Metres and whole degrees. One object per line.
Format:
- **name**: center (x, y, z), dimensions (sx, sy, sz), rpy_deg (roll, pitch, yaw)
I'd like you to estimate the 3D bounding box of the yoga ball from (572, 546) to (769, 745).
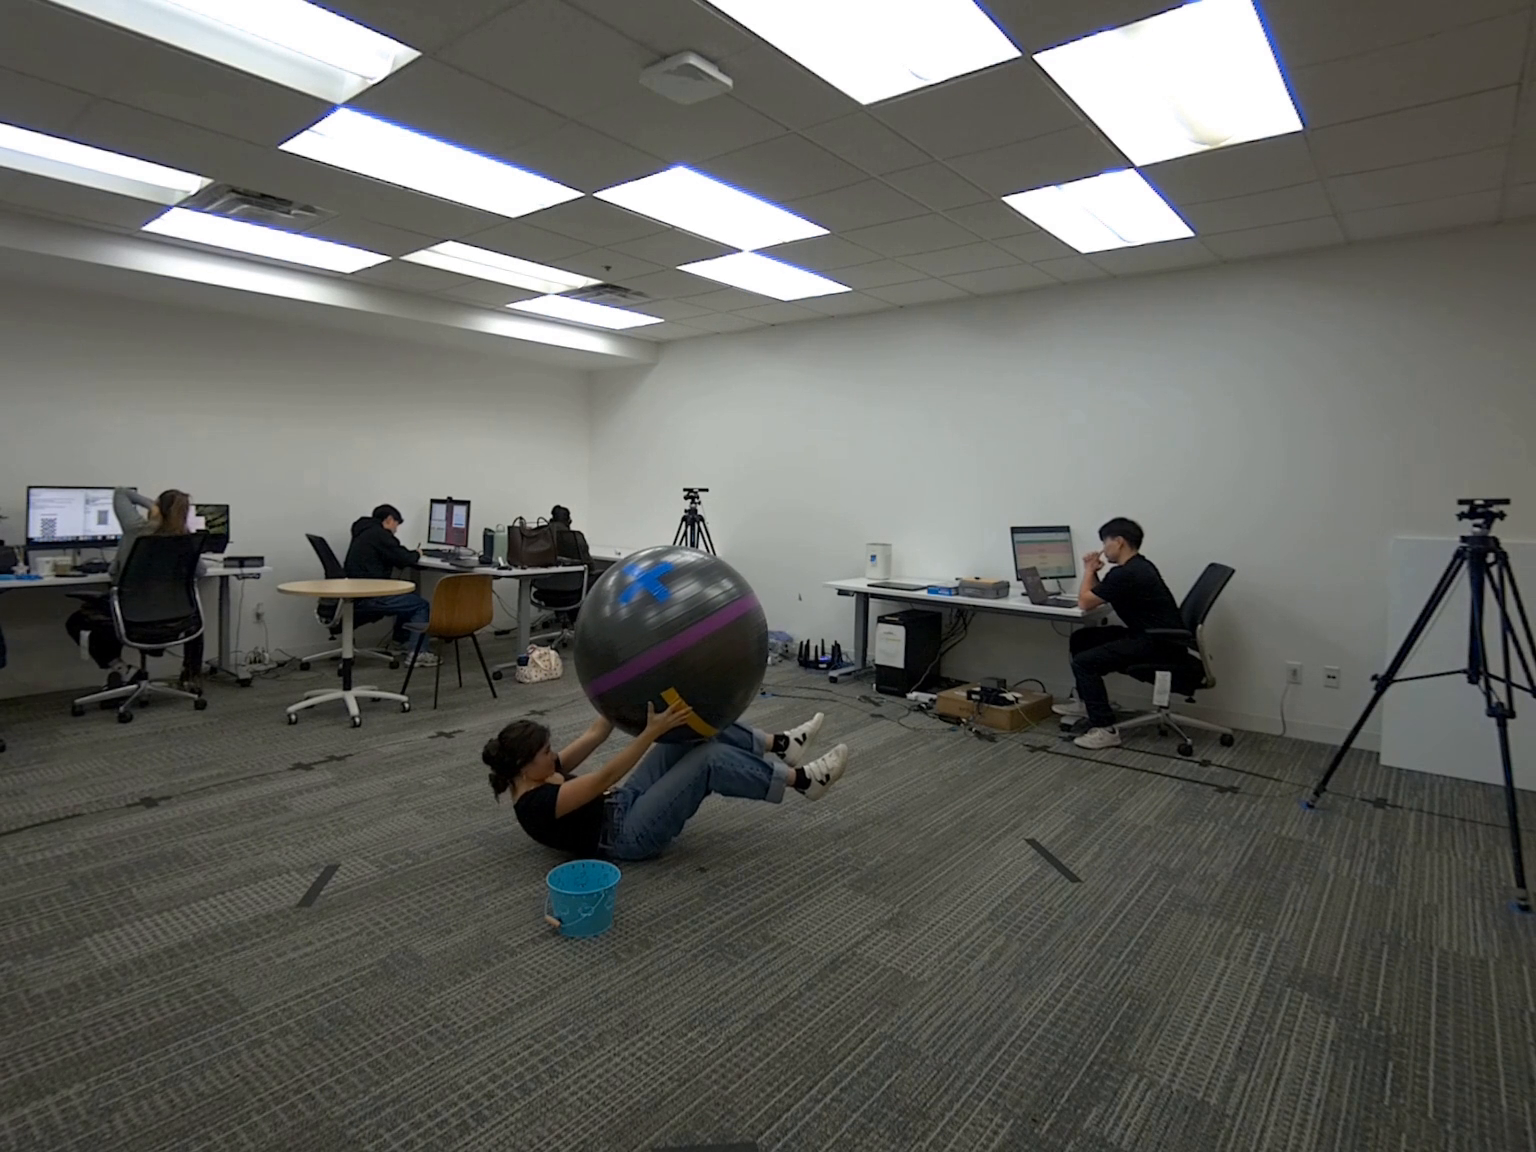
- **yoga ball**: center (-0.390, 0.263, 3.295), dimensions (0.757, 0.756, 0.761), rpy_deg (1, 4, -2)
